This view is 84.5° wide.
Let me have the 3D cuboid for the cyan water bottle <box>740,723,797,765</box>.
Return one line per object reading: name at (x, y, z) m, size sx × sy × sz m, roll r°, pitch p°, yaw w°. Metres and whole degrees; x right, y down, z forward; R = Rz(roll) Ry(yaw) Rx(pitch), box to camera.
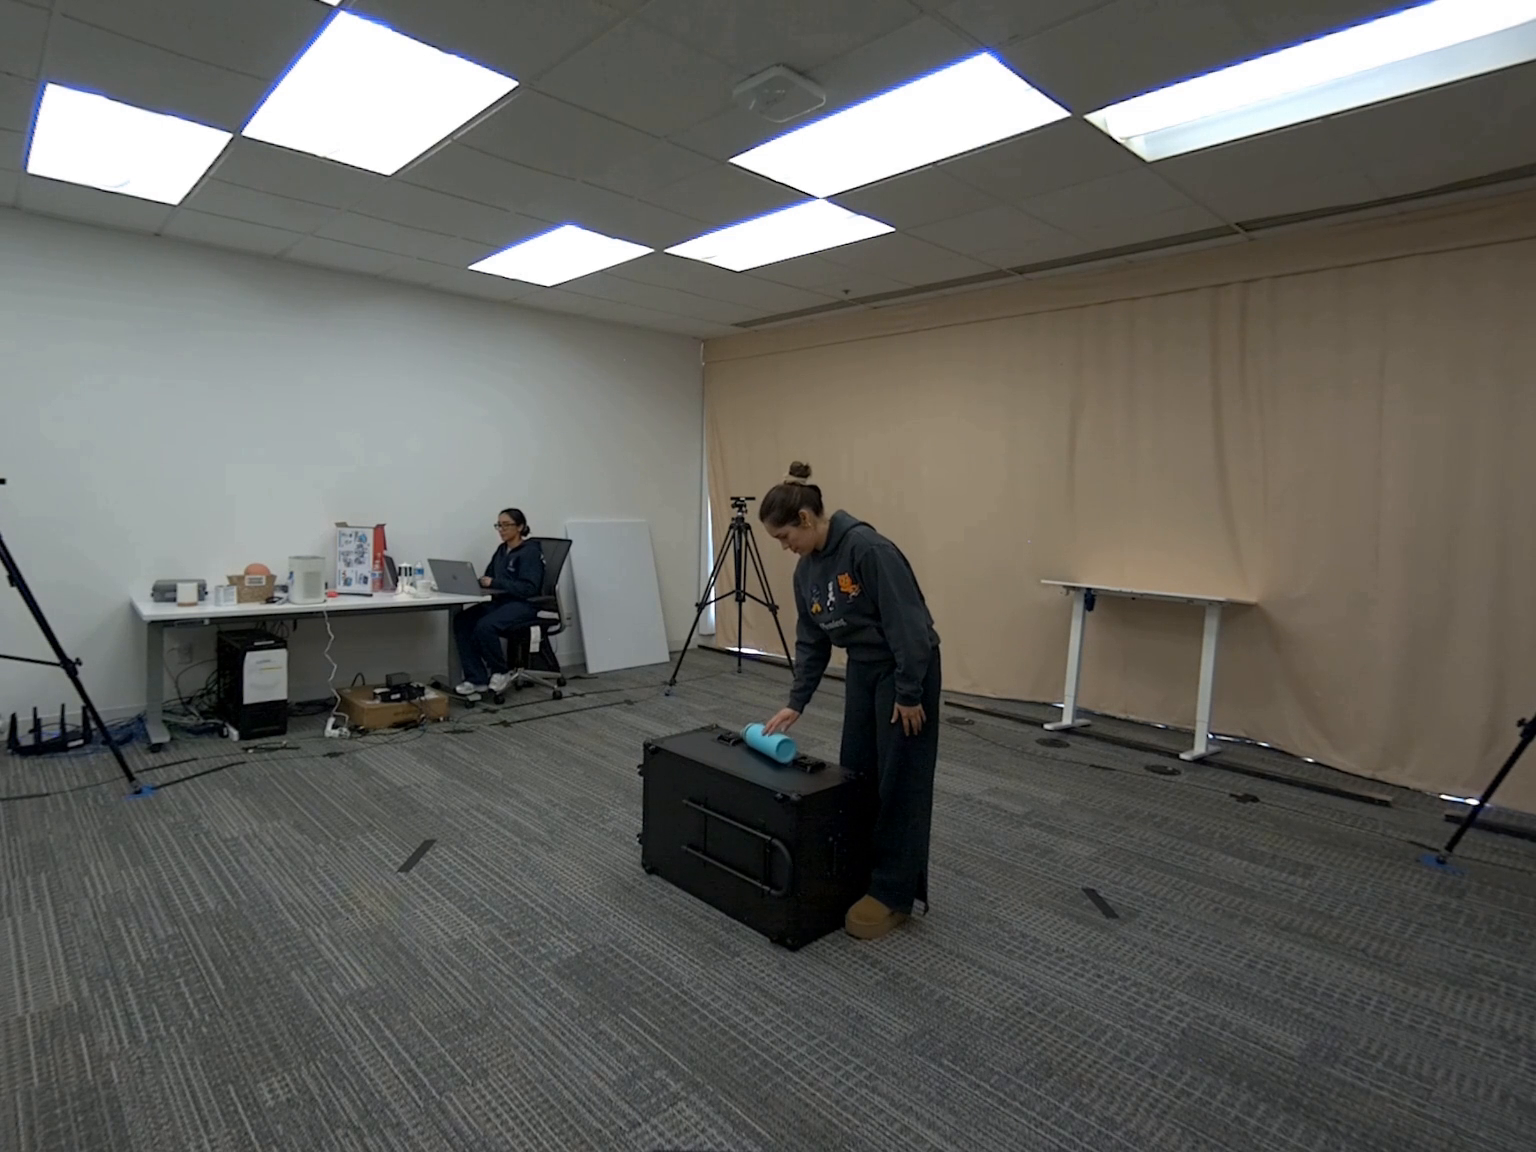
cyan water bottle at (-0.013, 0.586, 3.011) m, size 0.090 × 0.092 × 0.289 m, roll -1°, pitch 4°, yaw -27°
